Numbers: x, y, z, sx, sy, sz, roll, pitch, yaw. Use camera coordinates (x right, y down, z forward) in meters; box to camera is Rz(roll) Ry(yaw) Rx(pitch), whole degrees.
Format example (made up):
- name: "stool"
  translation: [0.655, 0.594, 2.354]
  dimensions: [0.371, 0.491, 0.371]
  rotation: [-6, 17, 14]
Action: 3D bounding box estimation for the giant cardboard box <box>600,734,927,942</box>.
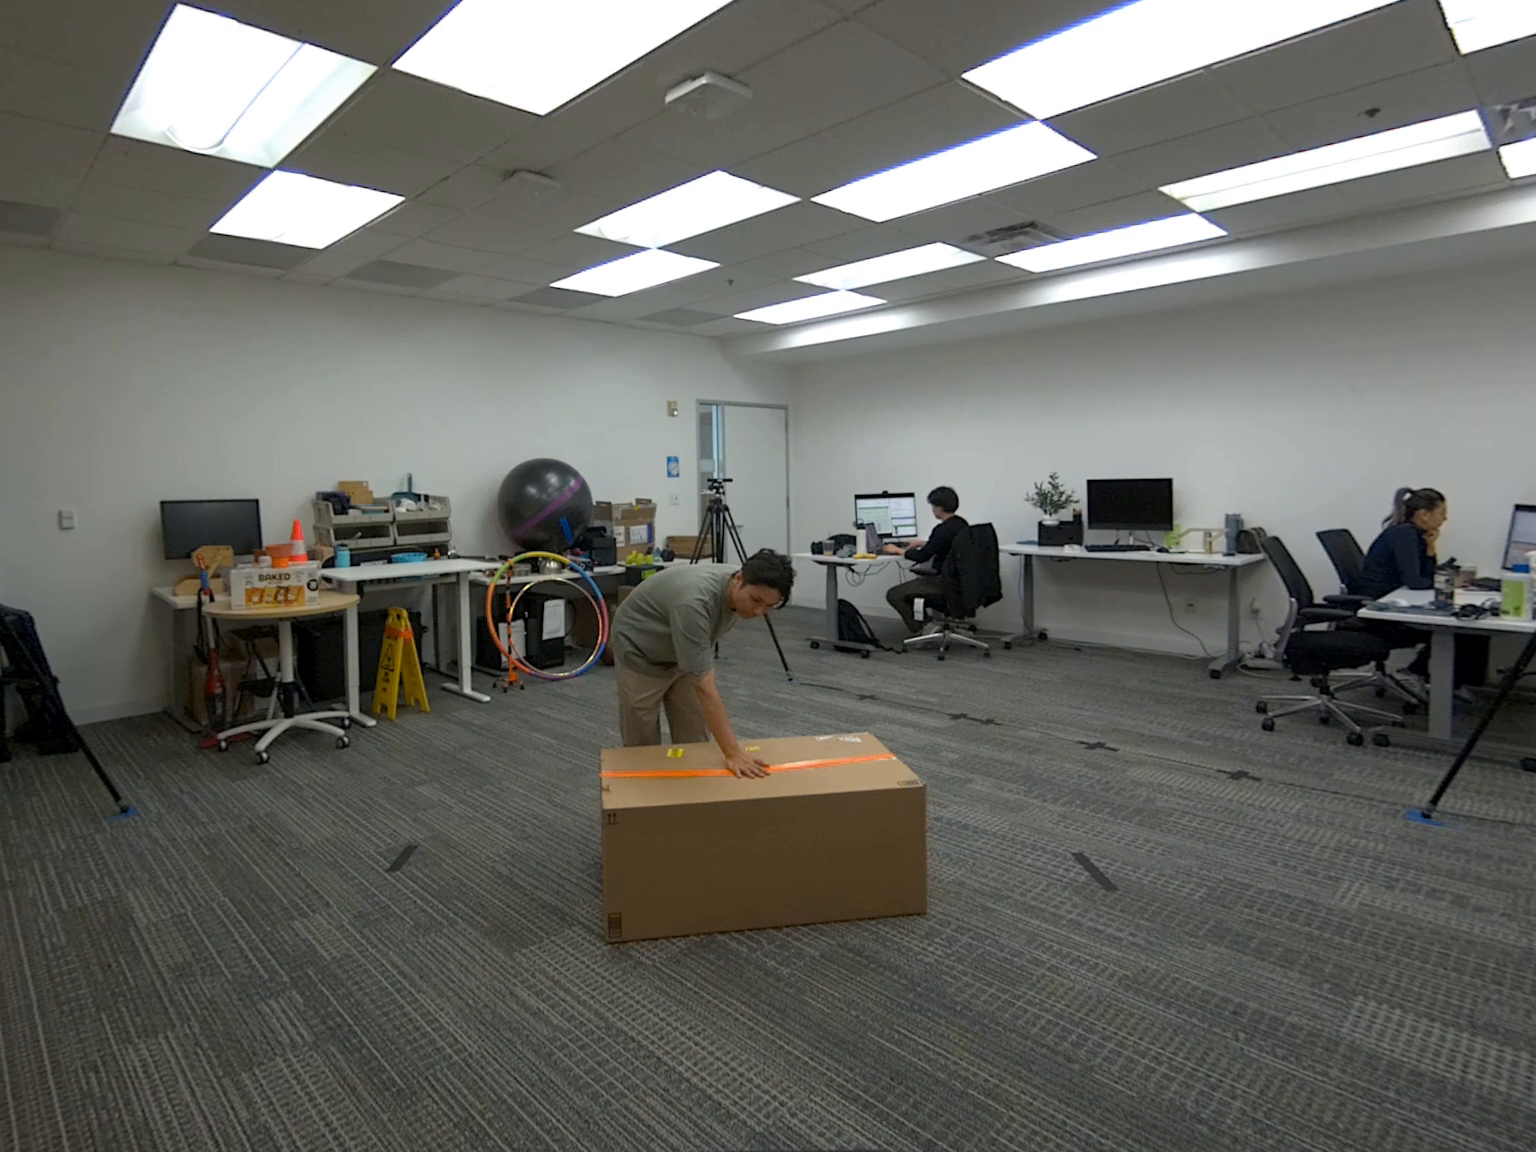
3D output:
- name: "giant cardboard box"
  translation: [-0.050, 0.851, 2.915]
  dimensions: [1.018, 0.425, 0.584]
  rotation: [-2, 5, -9]
